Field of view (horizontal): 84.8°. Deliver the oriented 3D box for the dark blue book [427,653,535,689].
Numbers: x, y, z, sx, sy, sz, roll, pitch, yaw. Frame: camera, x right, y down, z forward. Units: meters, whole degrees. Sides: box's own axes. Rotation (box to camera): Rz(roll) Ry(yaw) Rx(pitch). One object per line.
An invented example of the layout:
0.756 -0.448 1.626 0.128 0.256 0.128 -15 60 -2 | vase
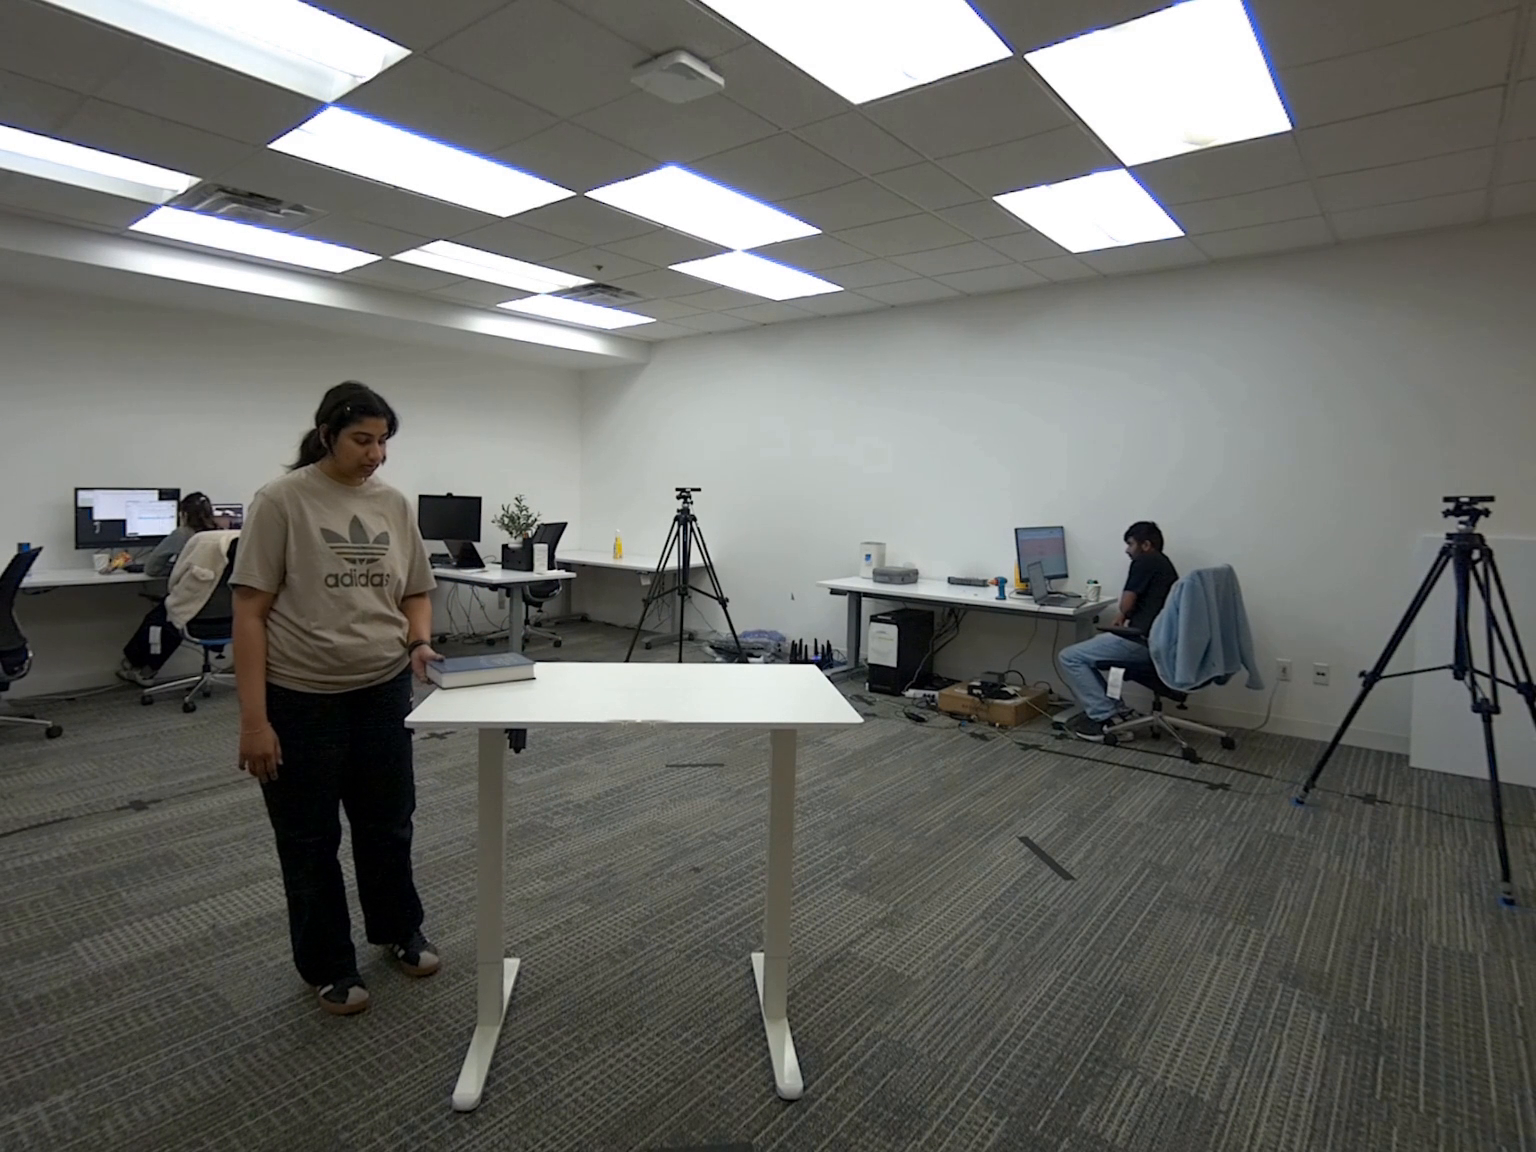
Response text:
-0.767 0.250 2.204 0.238 0.045 0.169 -4 8 -37 | dark blue book
